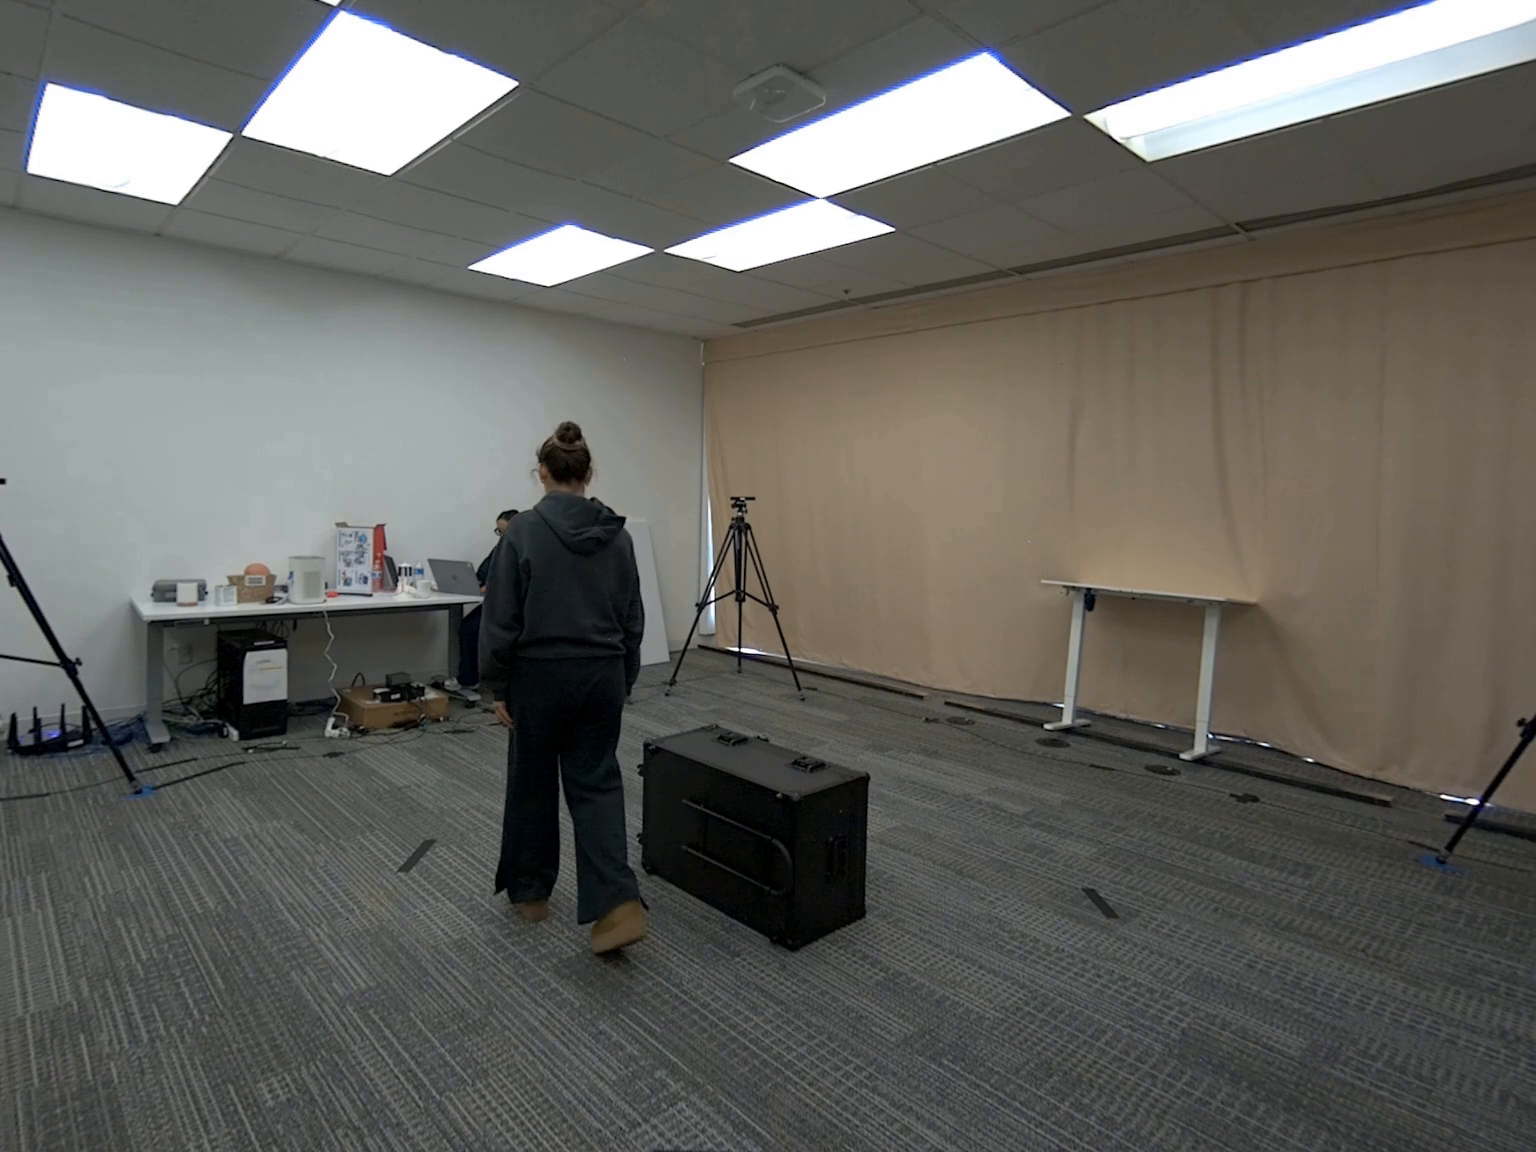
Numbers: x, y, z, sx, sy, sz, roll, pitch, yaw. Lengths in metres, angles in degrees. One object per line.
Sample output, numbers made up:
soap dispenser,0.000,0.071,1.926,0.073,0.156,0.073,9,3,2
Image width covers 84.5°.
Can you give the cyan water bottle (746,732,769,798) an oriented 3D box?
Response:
cyan water bottle,-0.052,0.892,4.017,0.092,0.283,0.092,1,2,-1
